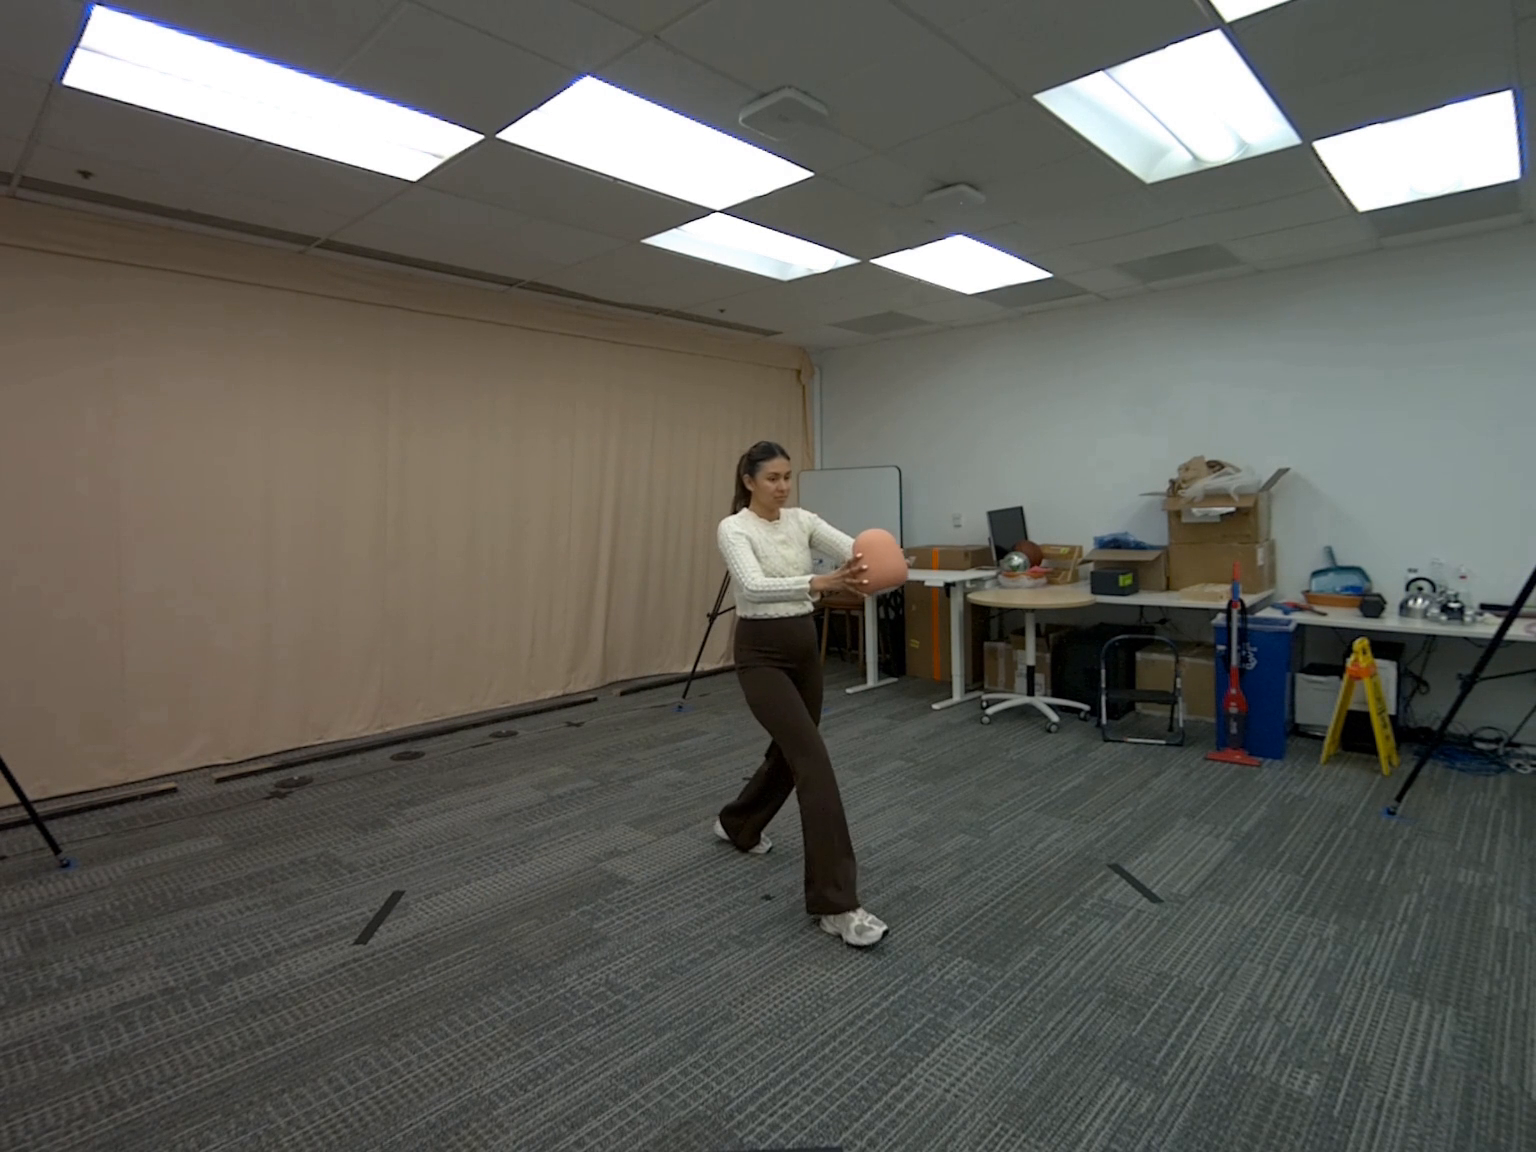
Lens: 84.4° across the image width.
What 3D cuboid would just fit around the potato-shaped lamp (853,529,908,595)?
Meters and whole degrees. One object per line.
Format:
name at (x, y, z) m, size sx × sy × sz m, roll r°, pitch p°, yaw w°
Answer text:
potato-shaped lamp at (0.335, -0.051, 2.596) m, size 0.168 × 0.199 × 0.167 m, roll -11°, pitch -5°, yaw -25°
